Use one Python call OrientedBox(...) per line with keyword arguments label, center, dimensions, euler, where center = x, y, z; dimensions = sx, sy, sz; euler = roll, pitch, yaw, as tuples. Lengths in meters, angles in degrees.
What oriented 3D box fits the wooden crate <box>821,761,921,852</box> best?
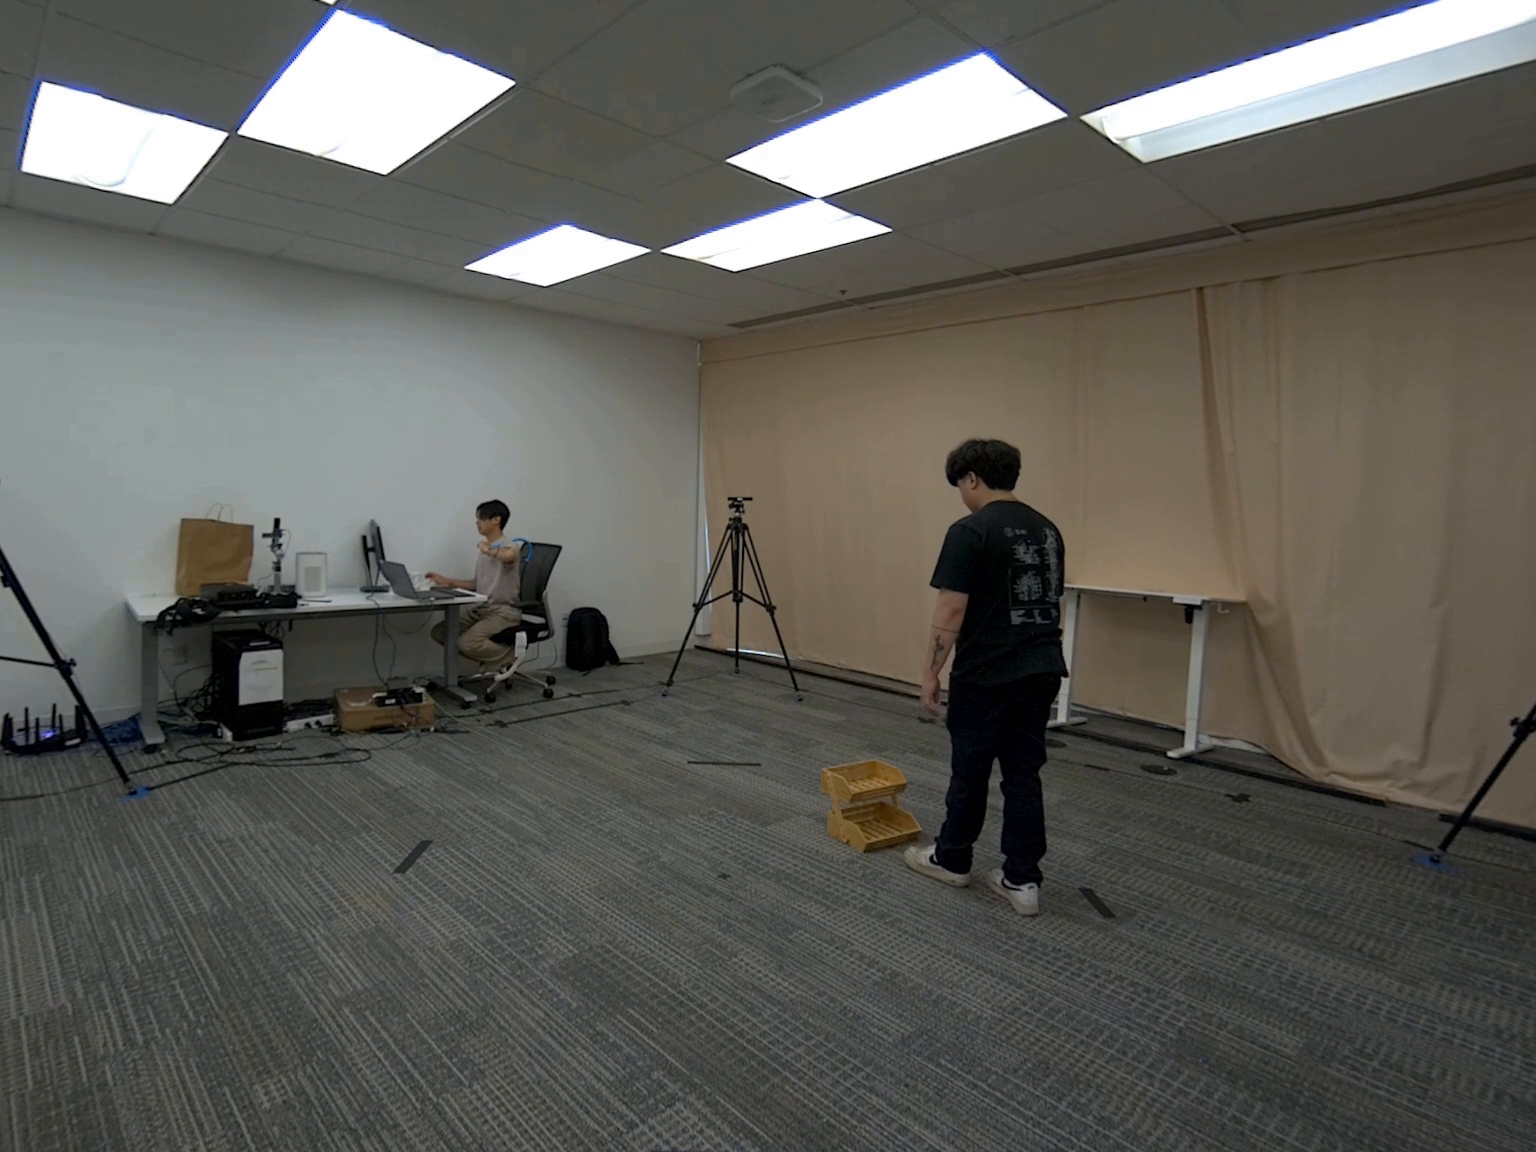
OrientedBox(label="wooden crate", center=(0.423, 0.951, 3.528), dimensions=(0.317, 0.273, 0.309), euler=(-1, 4, -33))
